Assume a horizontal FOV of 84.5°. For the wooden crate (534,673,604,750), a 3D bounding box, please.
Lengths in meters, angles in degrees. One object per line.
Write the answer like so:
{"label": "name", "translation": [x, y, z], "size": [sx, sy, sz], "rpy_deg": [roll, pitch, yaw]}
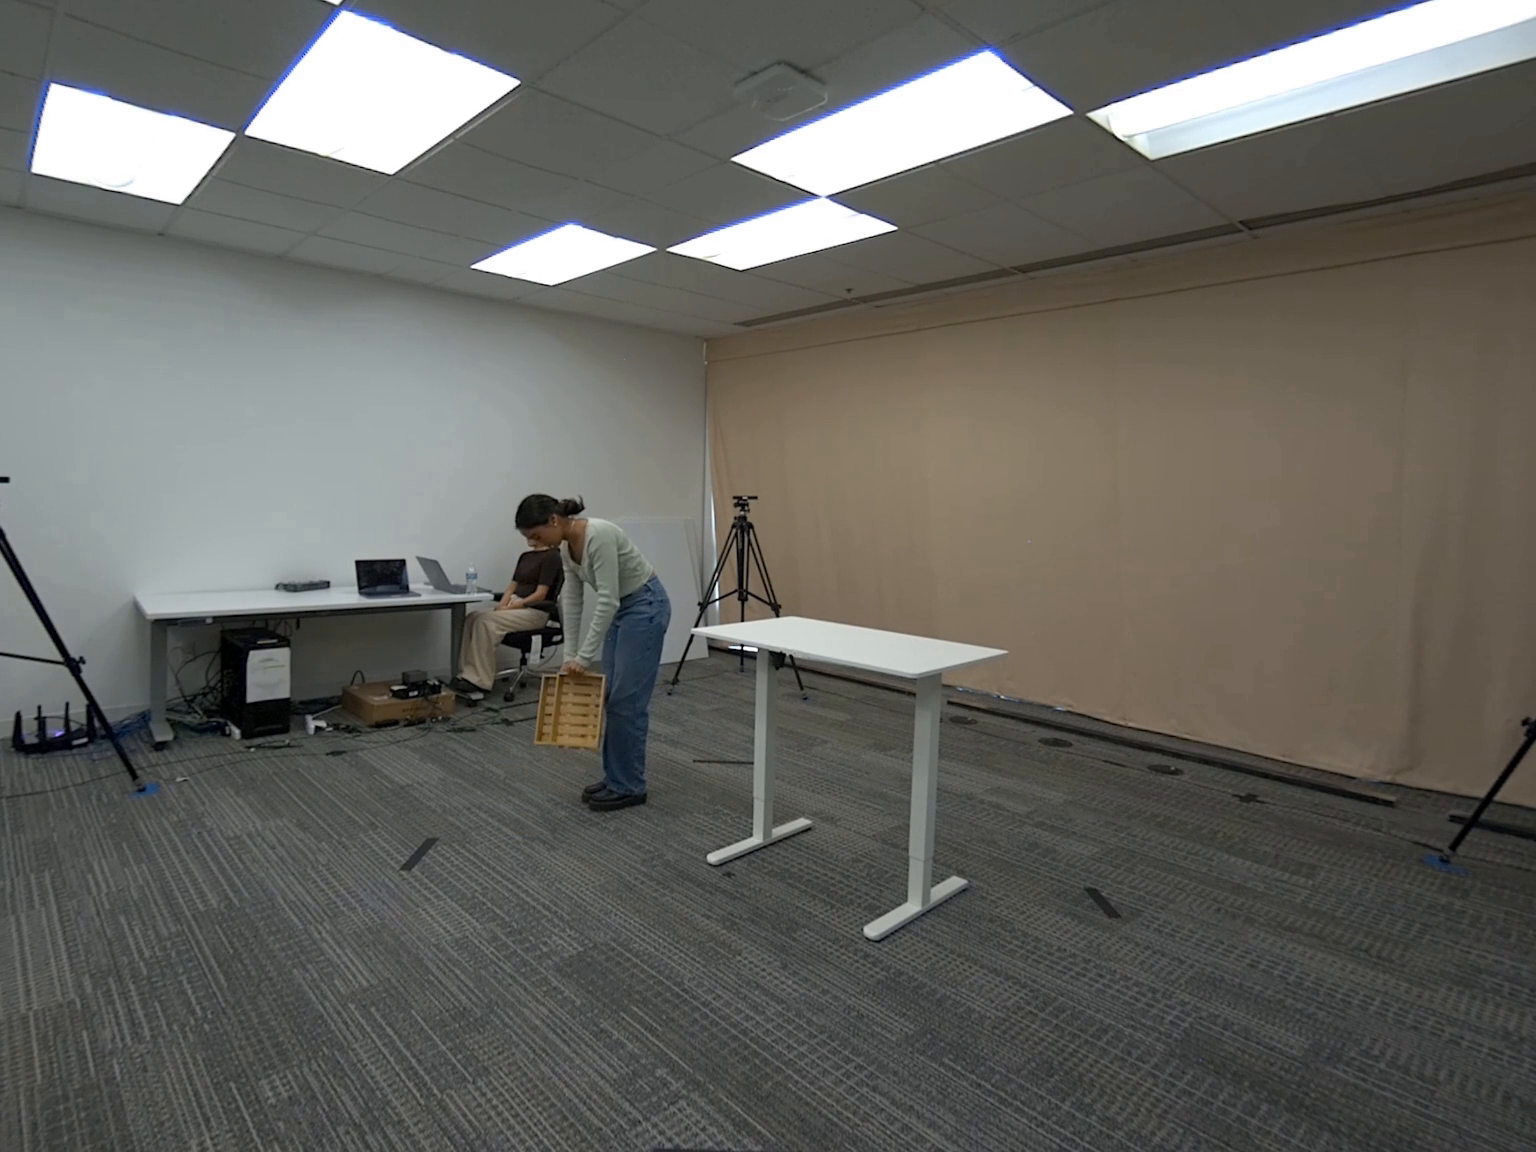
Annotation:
{"label": "wooden crate", "translation": [-0.880, 0.585, 3.652], "size": [0.302, 0.327, 0.270], "rpy_deg": [2, -13, 1]}
